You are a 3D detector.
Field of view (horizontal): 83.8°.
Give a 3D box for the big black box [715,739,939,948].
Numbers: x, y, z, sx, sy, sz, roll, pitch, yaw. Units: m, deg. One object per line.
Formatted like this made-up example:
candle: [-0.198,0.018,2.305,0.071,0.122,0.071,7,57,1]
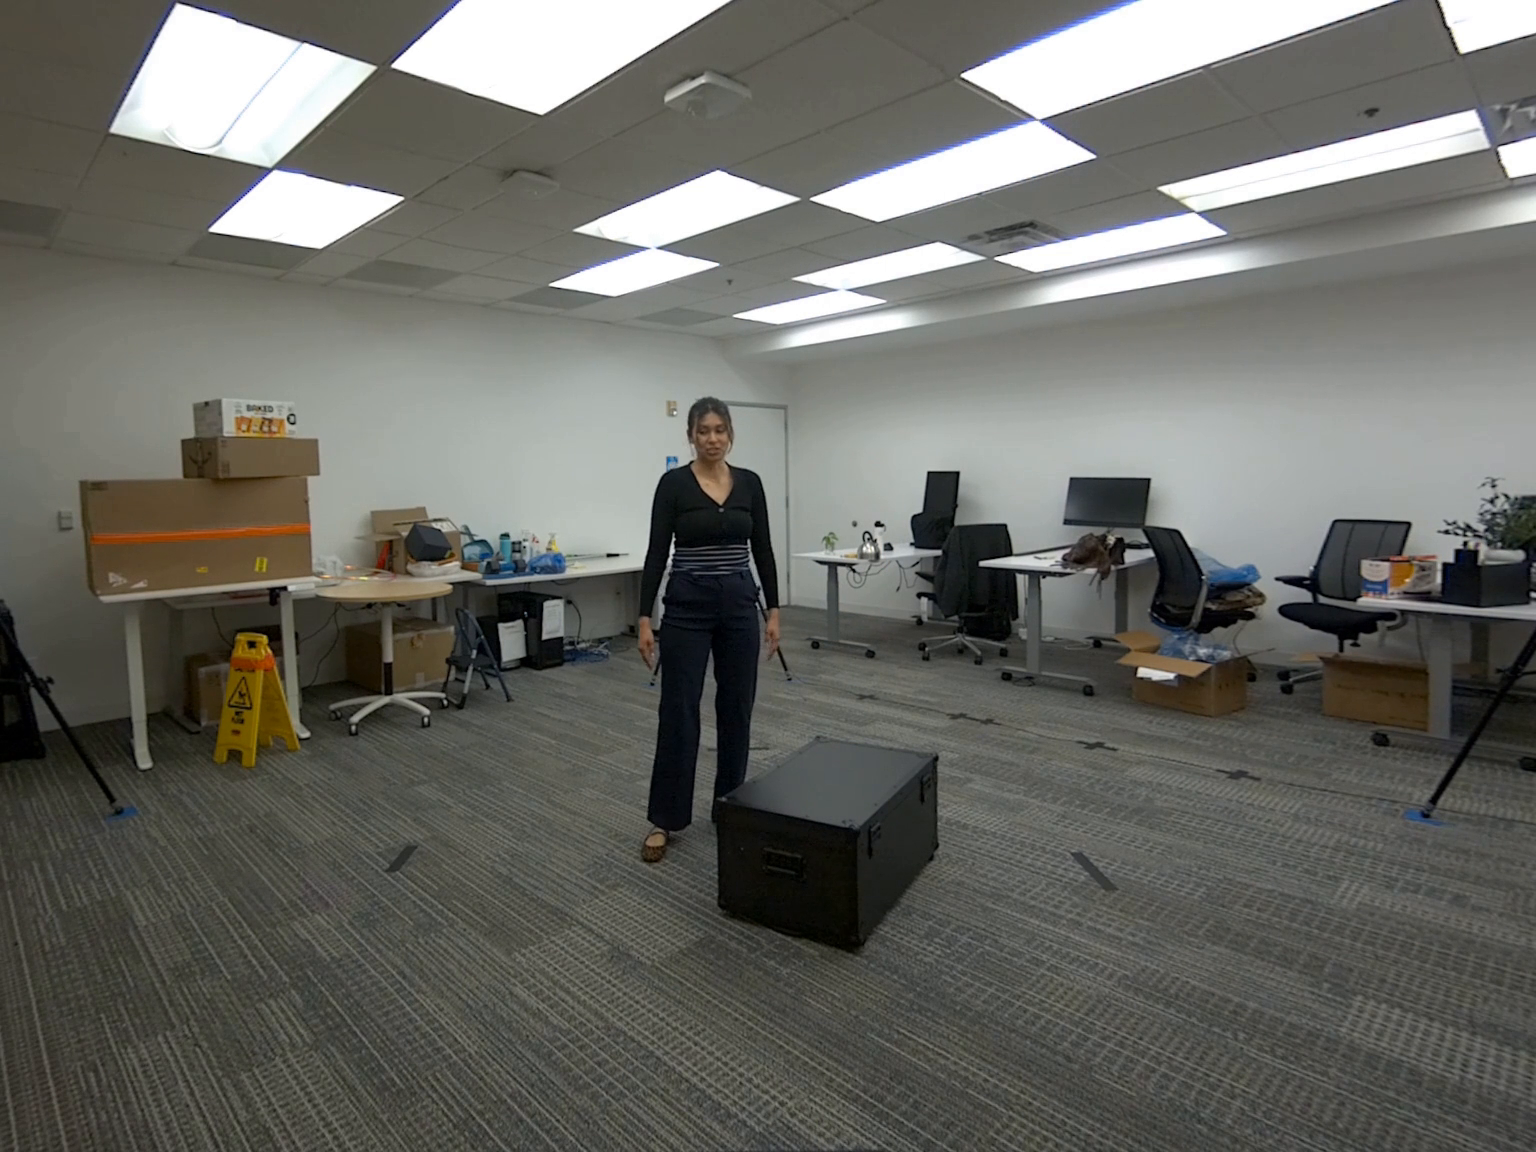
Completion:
big black box: [0.250,0.865,2.956,0.534,0.394,0.843,1,7,29]
